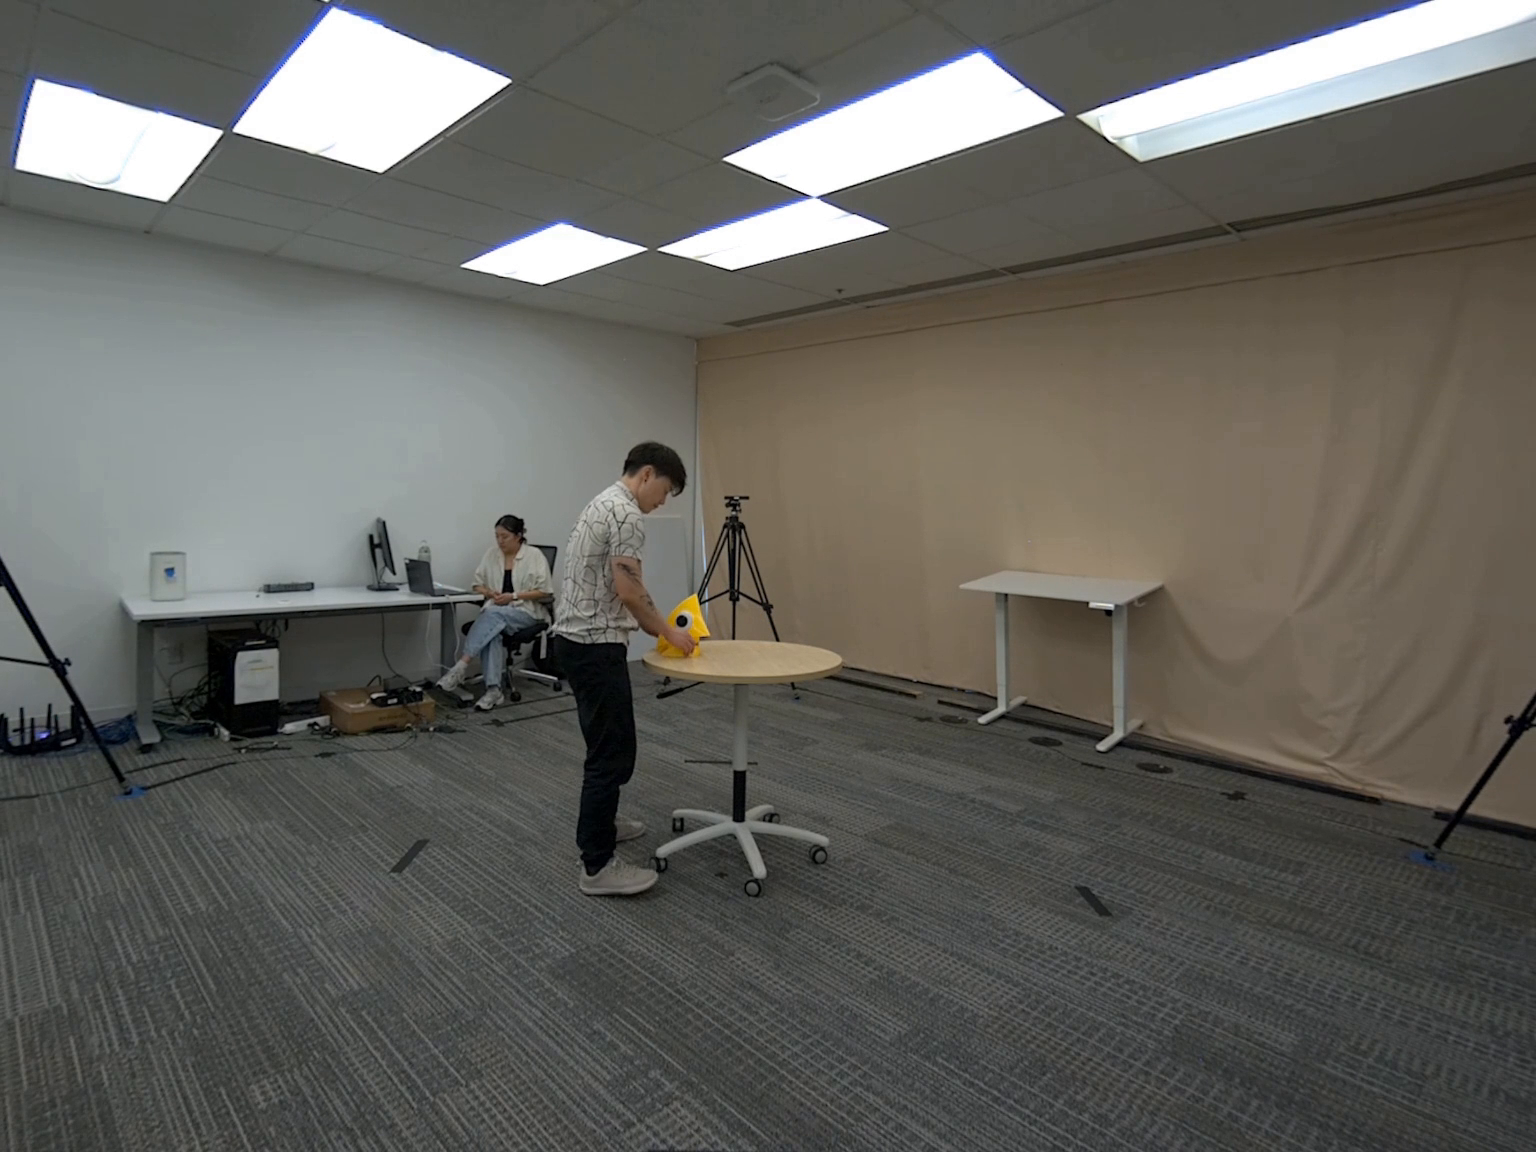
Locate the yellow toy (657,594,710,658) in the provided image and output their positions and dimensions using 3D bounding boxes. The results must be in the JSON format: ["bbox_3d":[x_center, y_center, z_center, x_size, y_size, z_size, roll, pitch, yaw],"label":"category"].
[{"bbox_3d":[-0.356,0.187,3.299,0.190,0.230,0.208,0,3,-18],"label":"yellow toy"}]
